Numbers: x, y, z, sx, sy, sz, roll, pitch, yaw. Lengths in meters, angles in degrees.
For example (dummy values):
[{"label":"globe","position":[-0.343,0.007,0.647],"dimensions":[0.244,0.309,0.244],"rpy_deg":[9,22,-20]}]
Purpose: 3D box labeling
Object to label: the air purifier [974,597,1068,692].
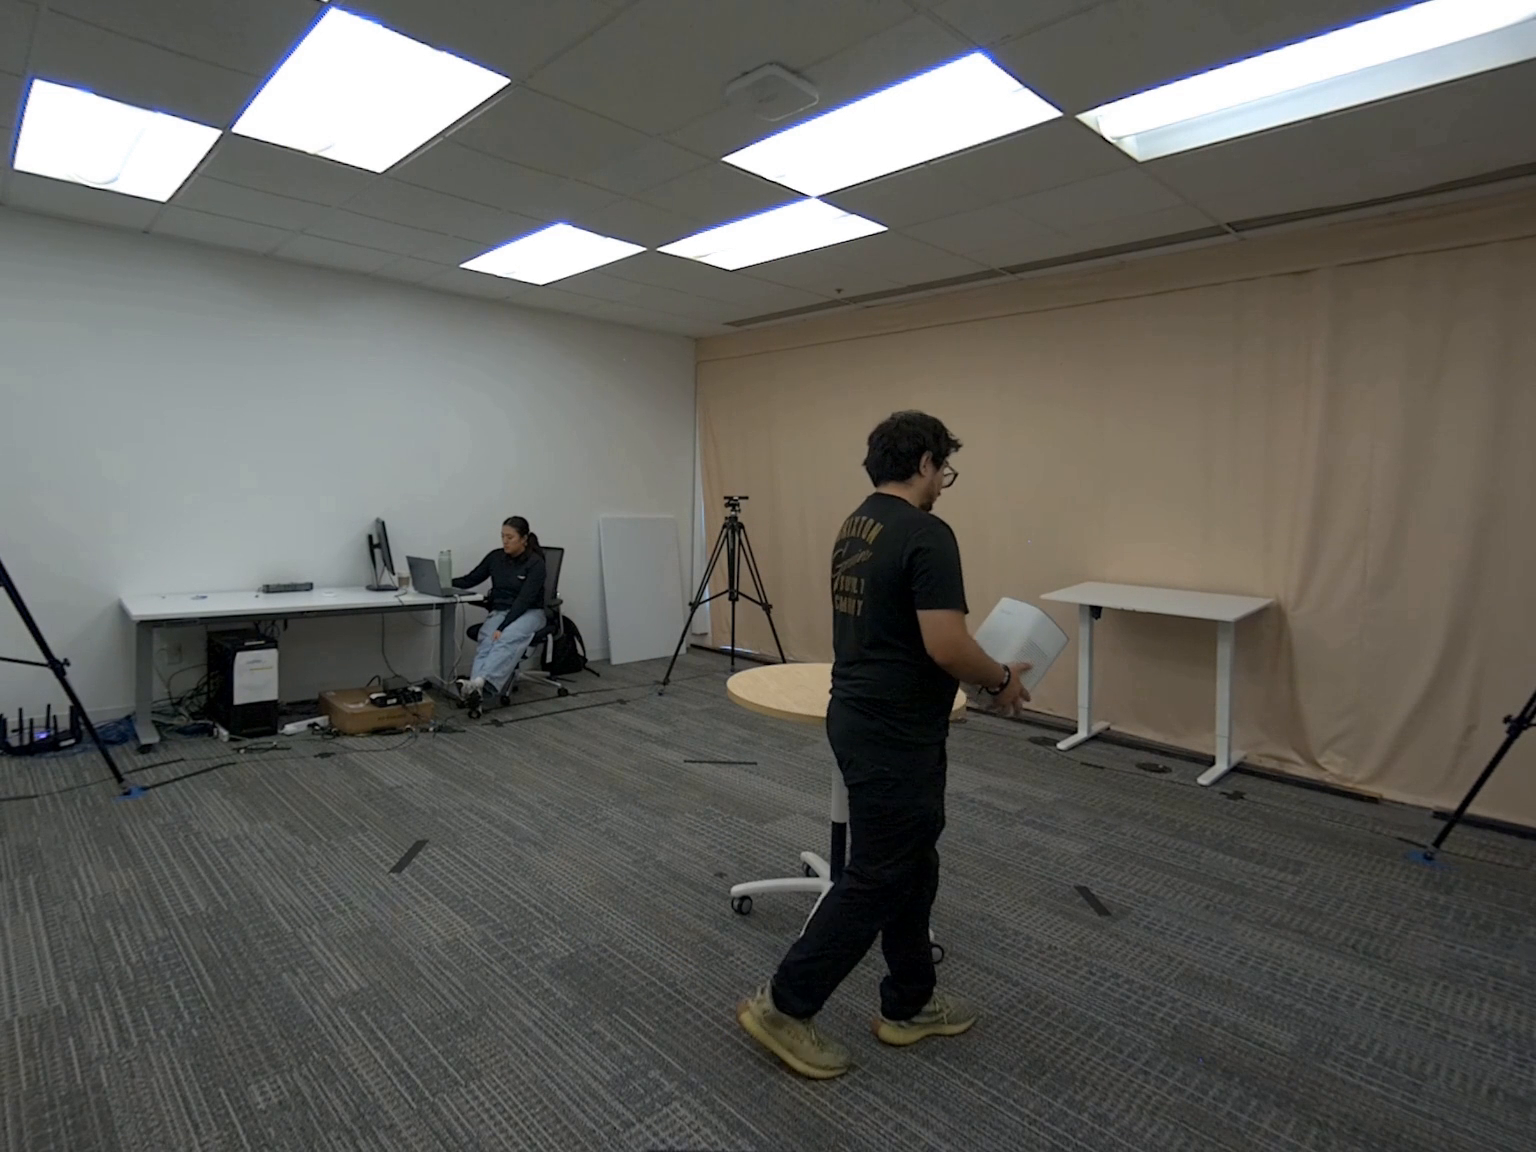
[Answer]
[{"label":"air purifier","position":[0.615,0.214,2.203],"dimensions":[0.170,0.262,0.171],"rpy_deg":[42,-5,-20]}]
